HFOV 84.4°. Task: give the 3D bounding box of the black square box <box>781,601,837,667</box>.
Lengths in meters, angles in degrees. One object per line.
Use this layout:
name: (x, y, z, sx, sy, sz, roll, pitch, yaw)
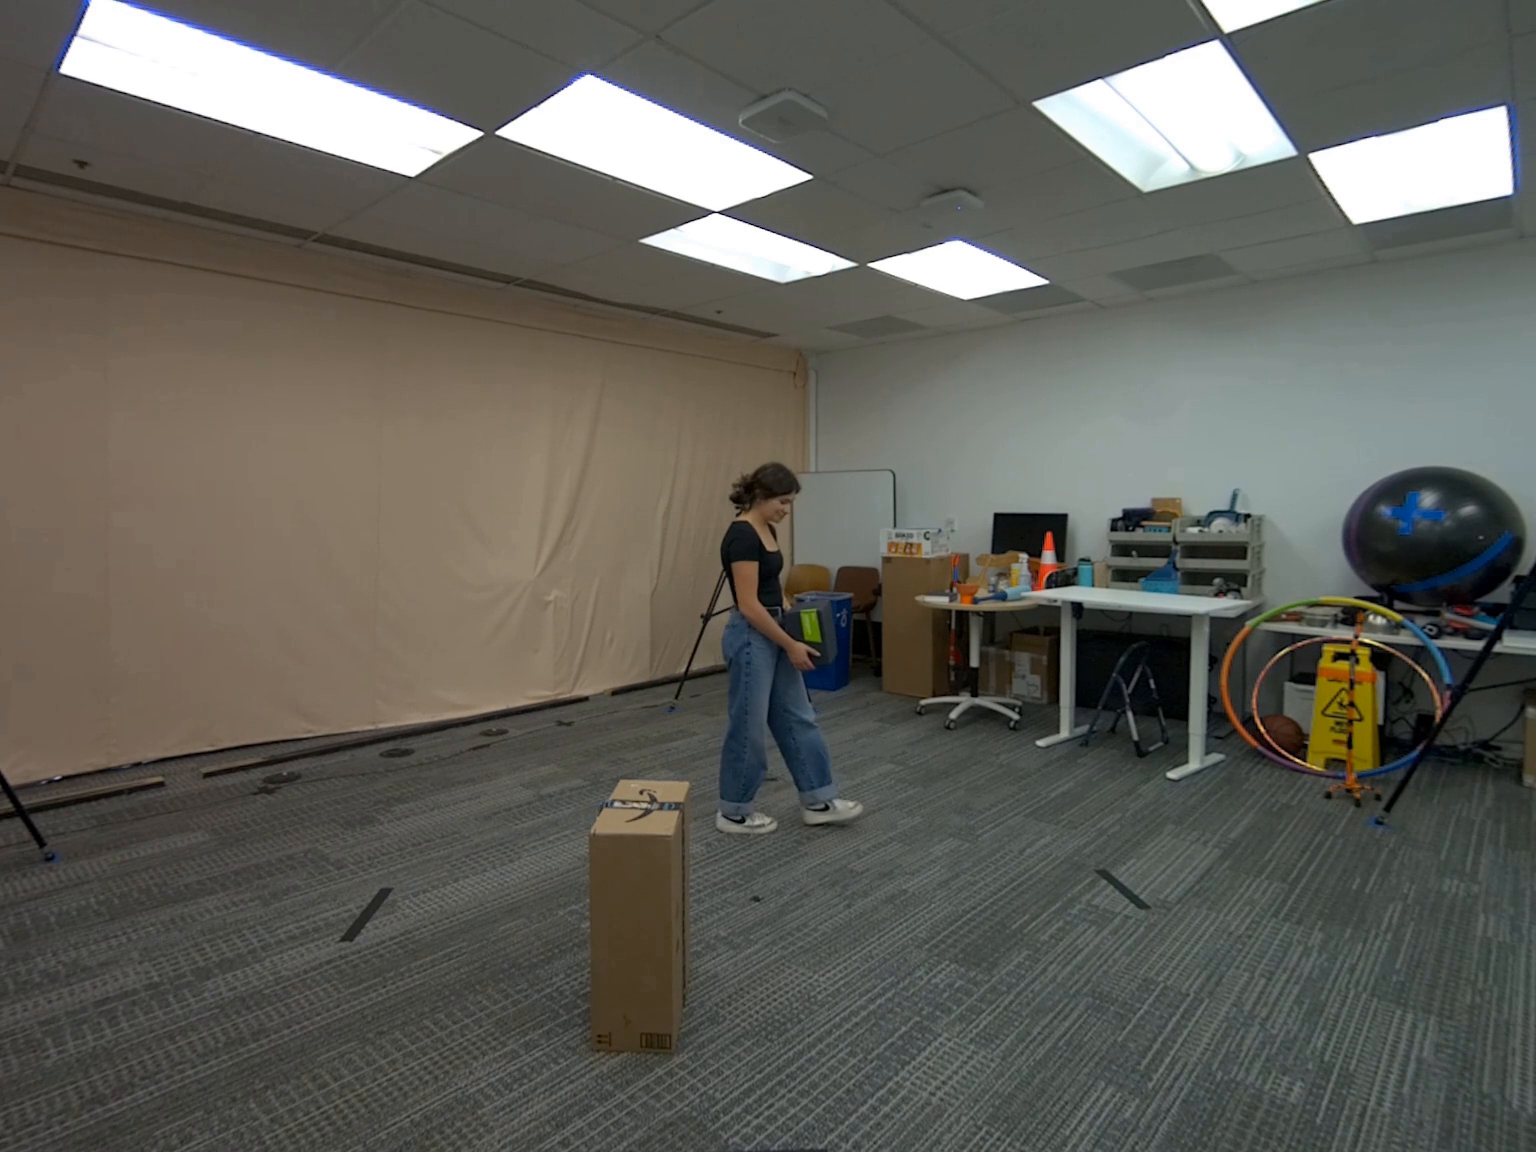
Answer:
black square box: (0.182, 0.232, 3.494, 0.159, 0.227, 0.214, -7, 8, 19)
